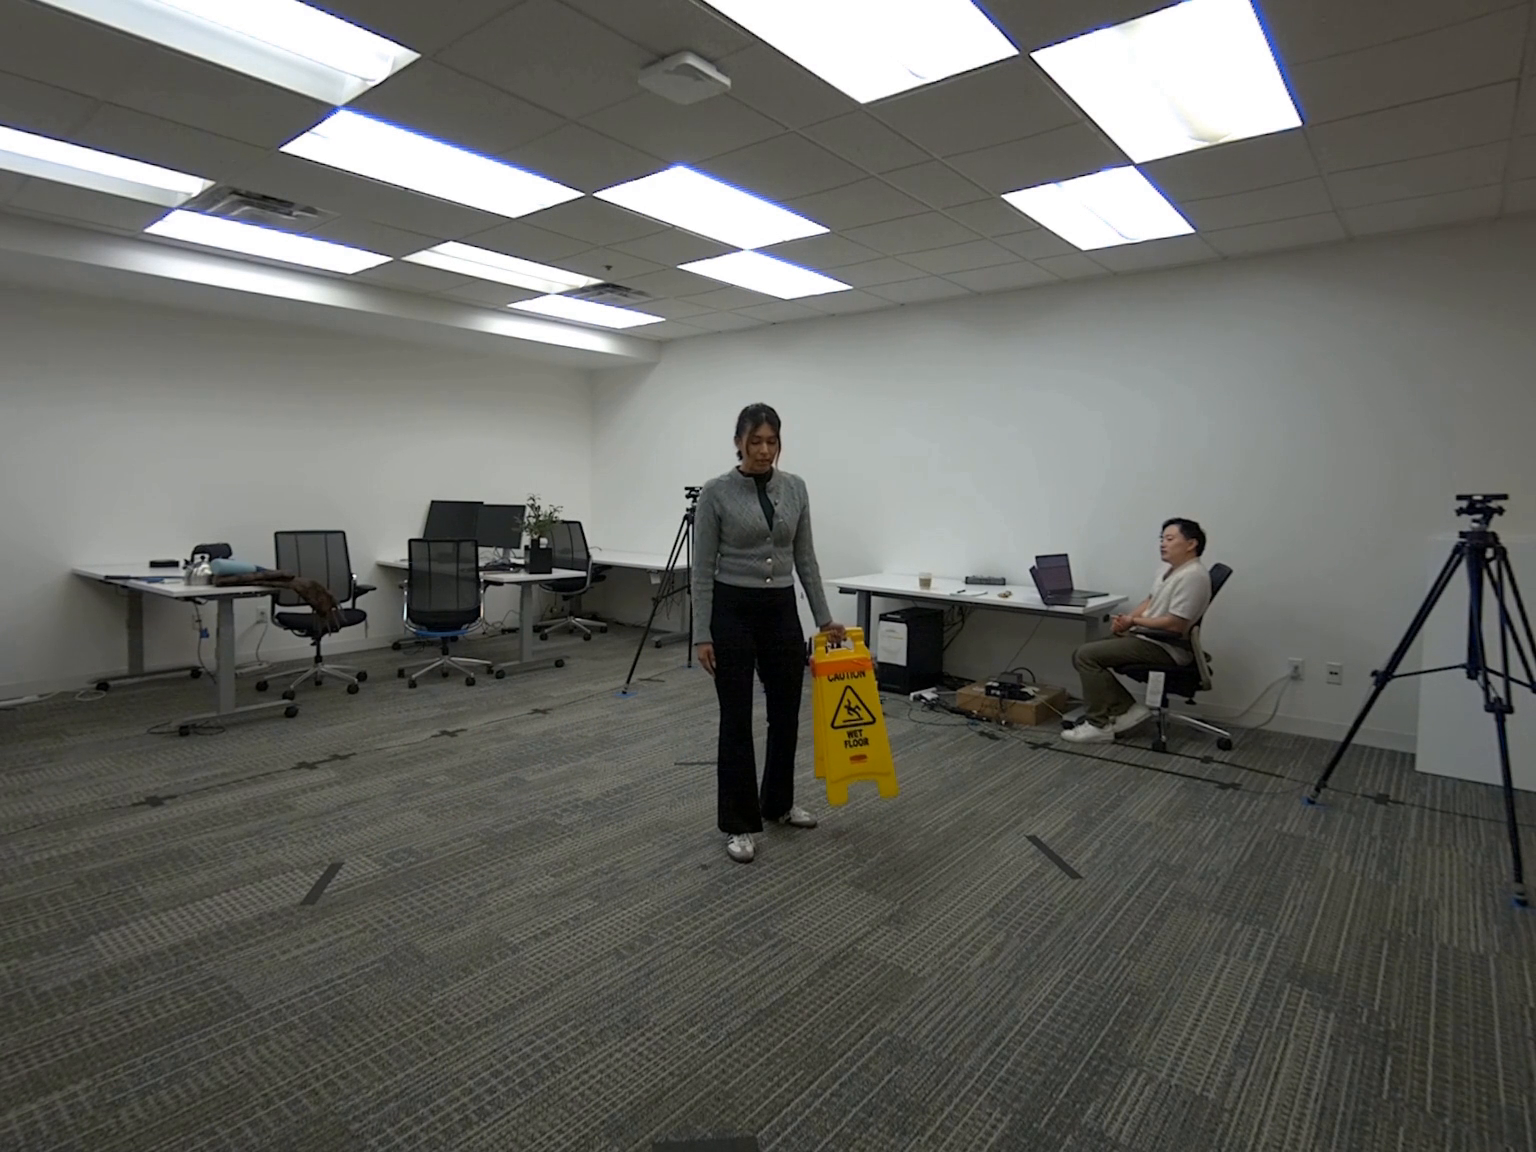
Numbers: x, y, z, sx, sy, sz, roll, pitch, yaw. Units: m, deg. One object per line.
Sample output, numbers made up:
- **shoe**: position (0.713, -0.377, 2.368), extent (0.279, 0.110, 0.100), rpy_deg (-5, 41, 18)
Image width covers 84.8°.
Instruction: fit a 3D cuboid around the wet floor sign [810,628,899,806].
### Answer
- **wet floor sign**: position (0.306, 0.531, 3.401), extent (0.281, 0.641, 0.293), rpy_deg (-7, 7, -5)
